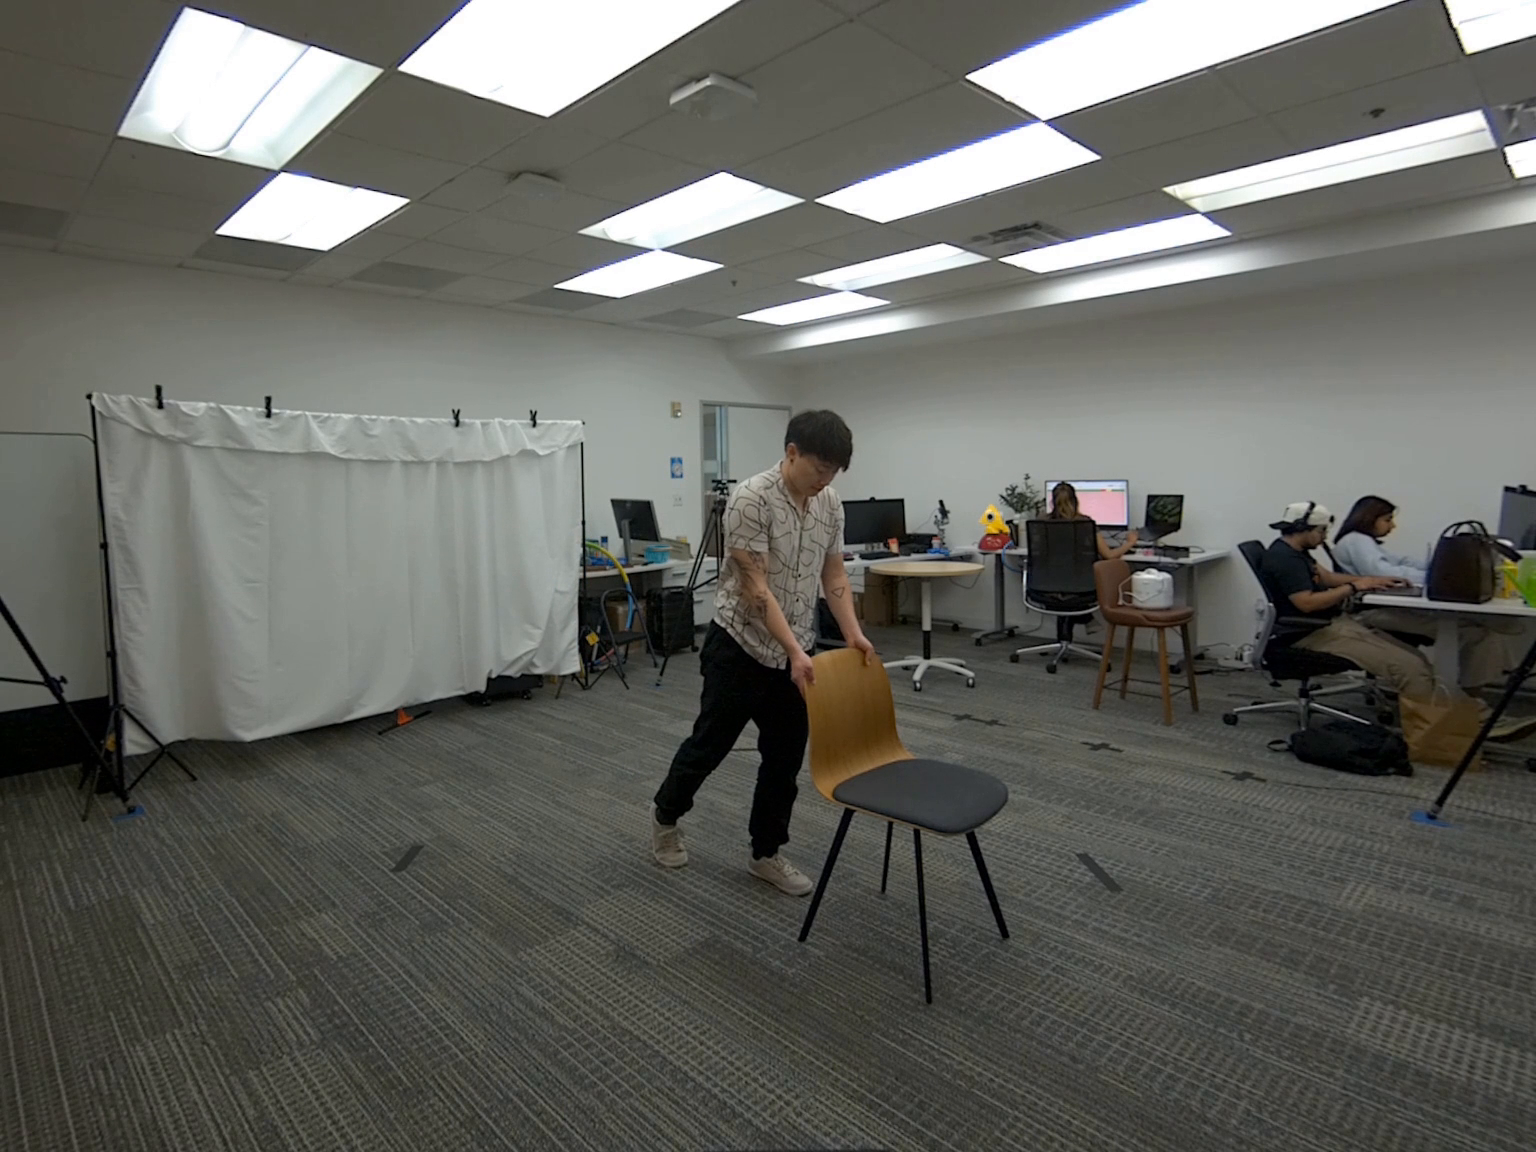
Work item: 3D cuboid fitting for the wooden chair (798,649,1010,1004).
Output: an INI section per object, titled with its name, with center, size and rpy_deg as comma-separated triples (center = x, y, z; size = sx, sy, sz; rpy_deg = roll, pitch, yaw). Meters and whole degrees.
[wooden chair]
center = 0.413, 0.675, 2.542
size = 0.537, 0.877, 0.465
rpy_deg = -3, 1, 43
